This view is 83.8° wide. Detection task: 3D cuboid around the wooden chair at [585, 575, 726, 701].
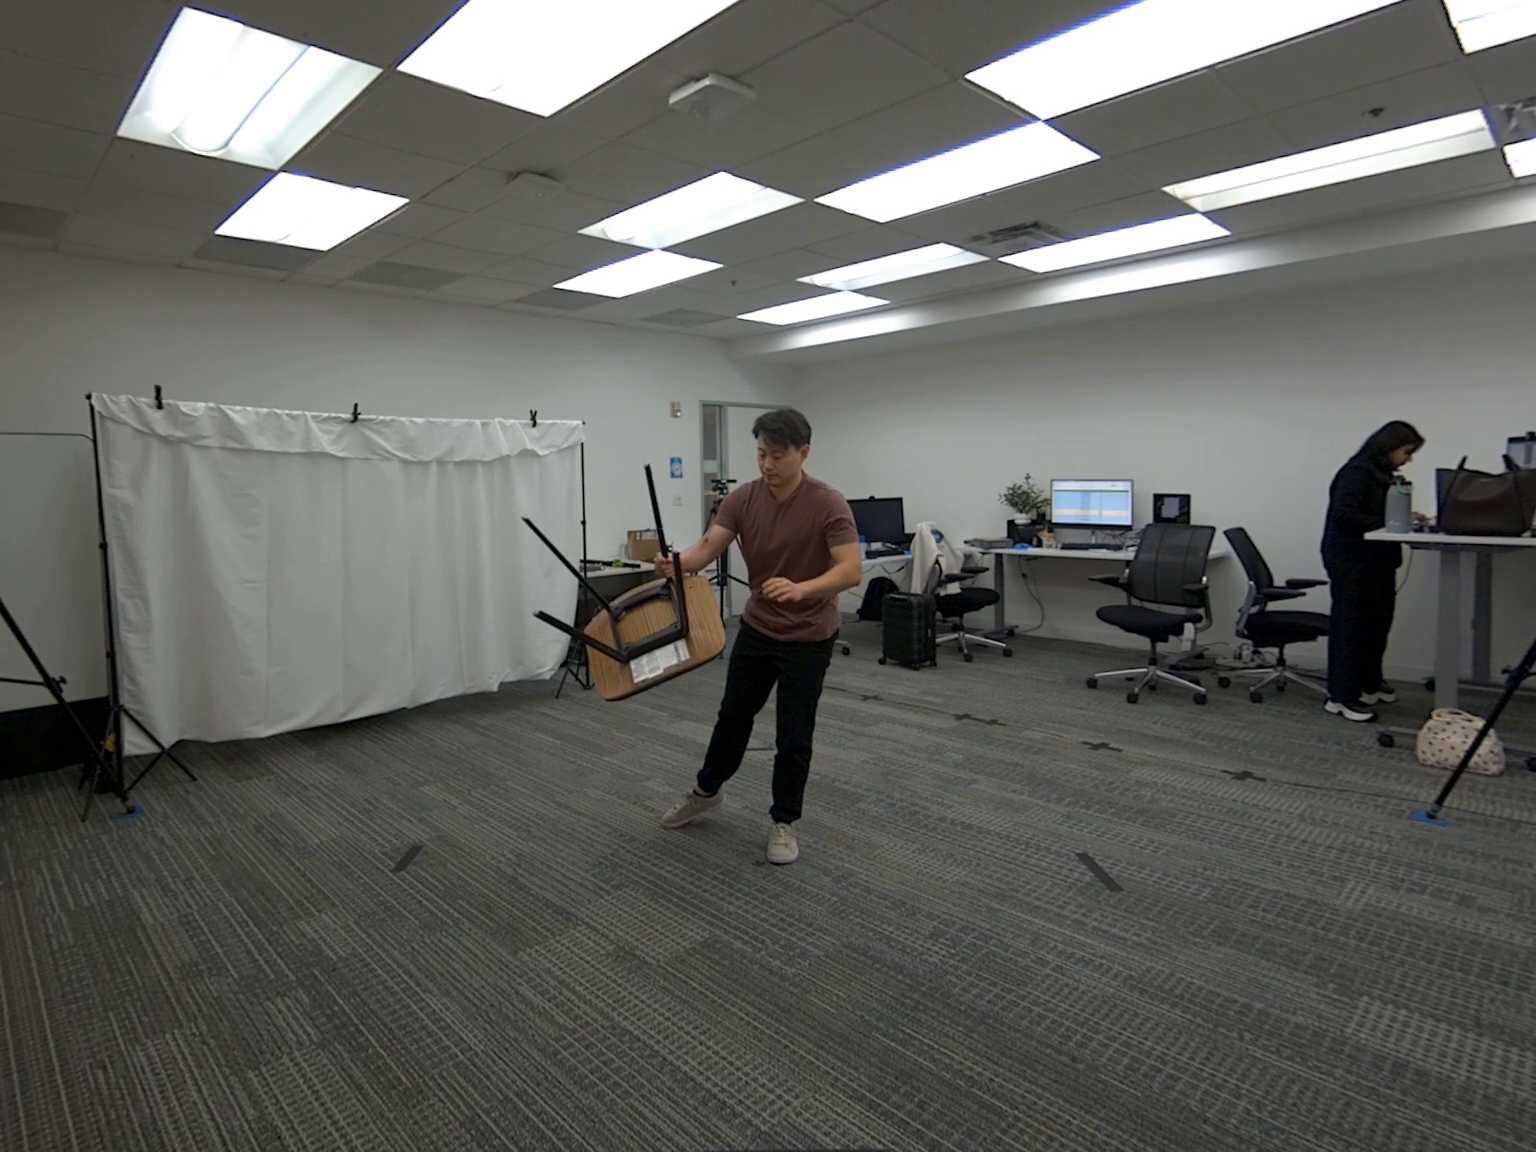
[{"bbox_3d":[-0.402,0.157,2.872,0.478,0.846,0.542,-22,47,0],"label":"wooden chair"}]
